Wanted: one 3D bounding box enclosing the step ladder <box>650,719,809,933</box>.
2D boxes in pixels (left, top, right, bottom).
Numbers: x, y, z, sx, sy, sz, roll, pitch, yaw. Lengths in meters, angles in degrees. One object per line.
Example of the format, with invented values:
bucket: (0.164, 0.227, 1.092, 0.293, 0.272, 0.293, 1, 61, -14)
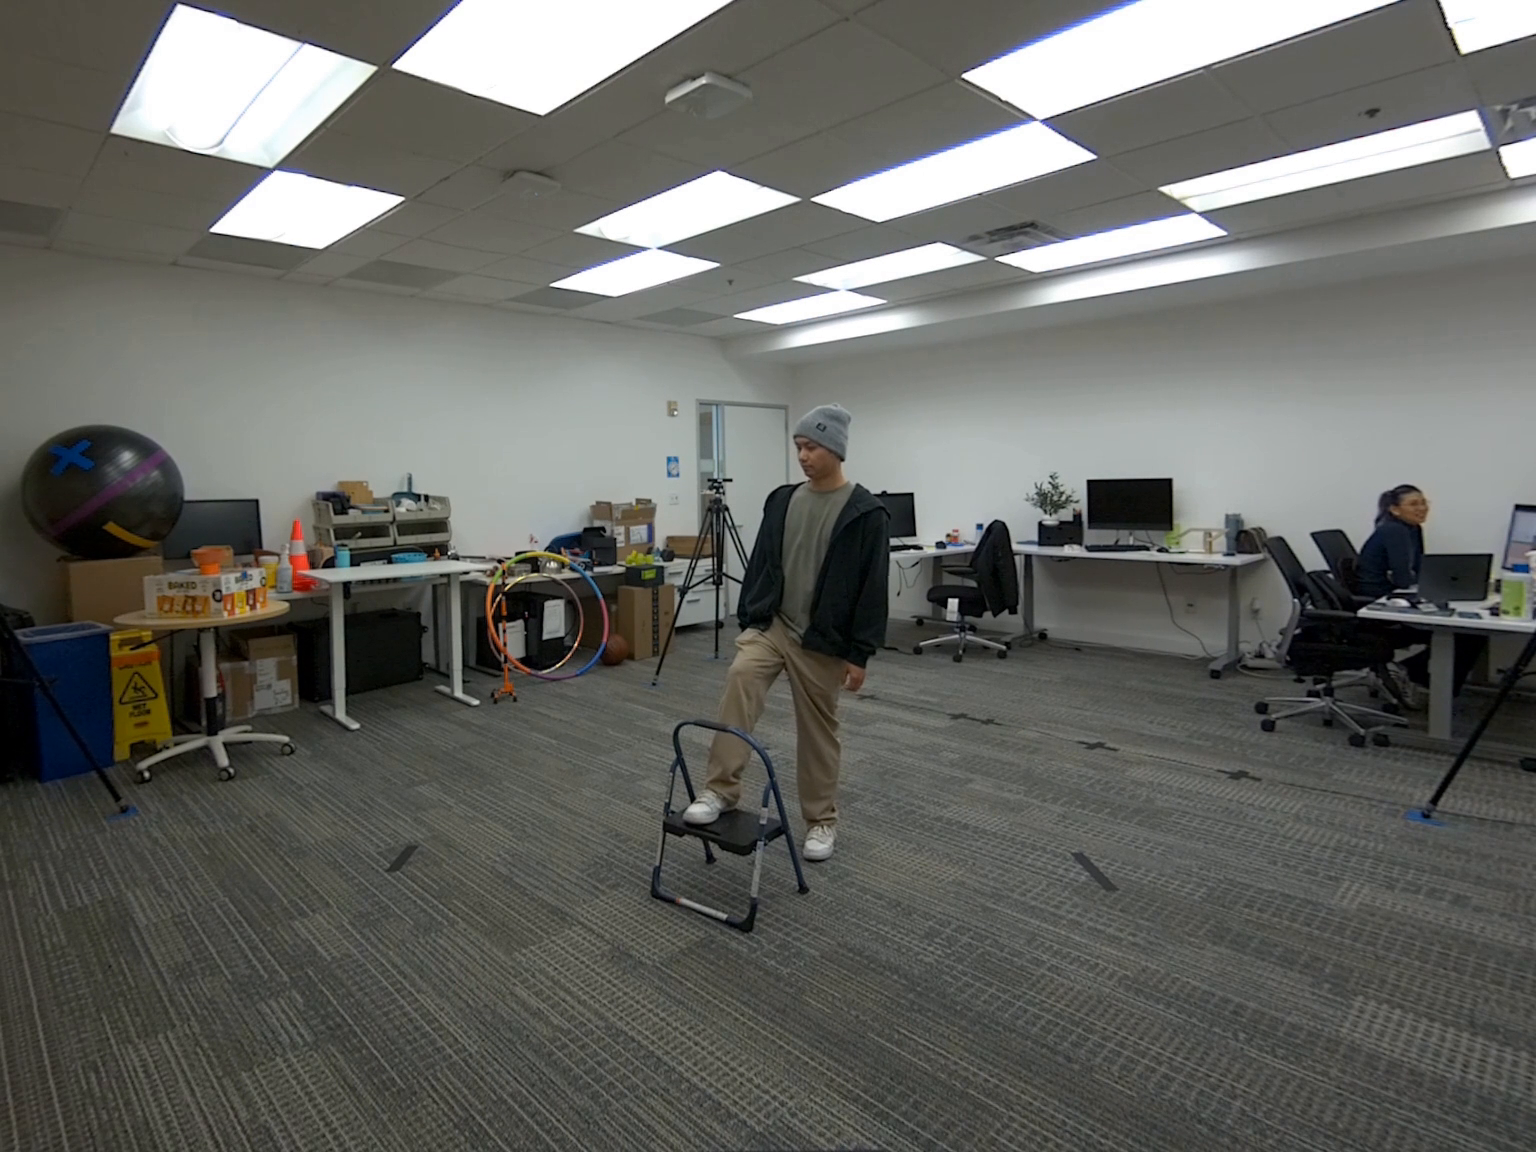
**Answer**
step ladder: (-0.136, 0.771, 2.864, 0.443, 0.604, 0.341, 2, 5, 35)
